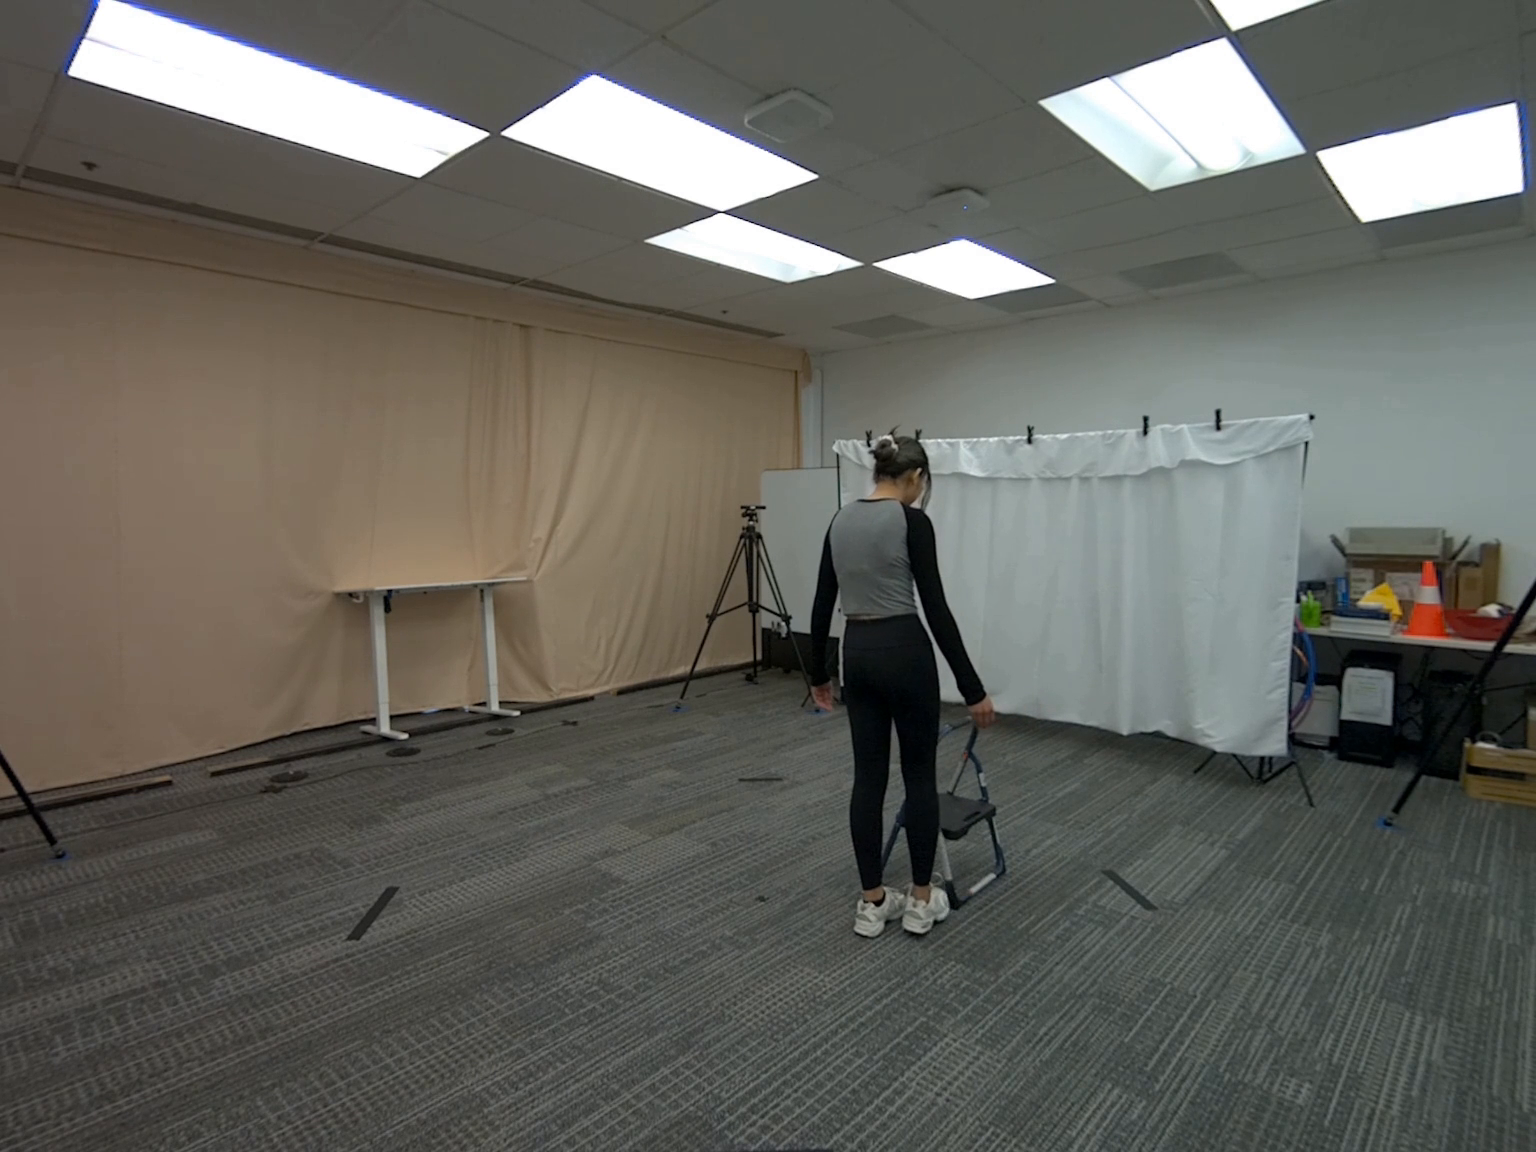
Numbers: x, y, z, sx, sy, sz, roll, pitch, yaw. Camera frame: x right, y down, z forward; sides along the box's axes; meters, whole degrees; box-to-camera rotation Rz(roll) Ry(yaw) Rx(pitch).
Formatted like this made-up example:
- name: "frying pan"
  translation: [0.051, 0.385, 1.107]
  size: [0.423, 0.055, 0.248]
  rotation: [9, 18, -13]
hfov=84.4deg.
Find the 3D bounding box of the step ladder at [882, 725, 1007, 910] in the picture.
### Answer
- name: "step ladder"
  translation: [0.650, 0.827, 3.140]
  size: [0.361, 0.605, 0.418]
  rotation: [2, 4, 39]
